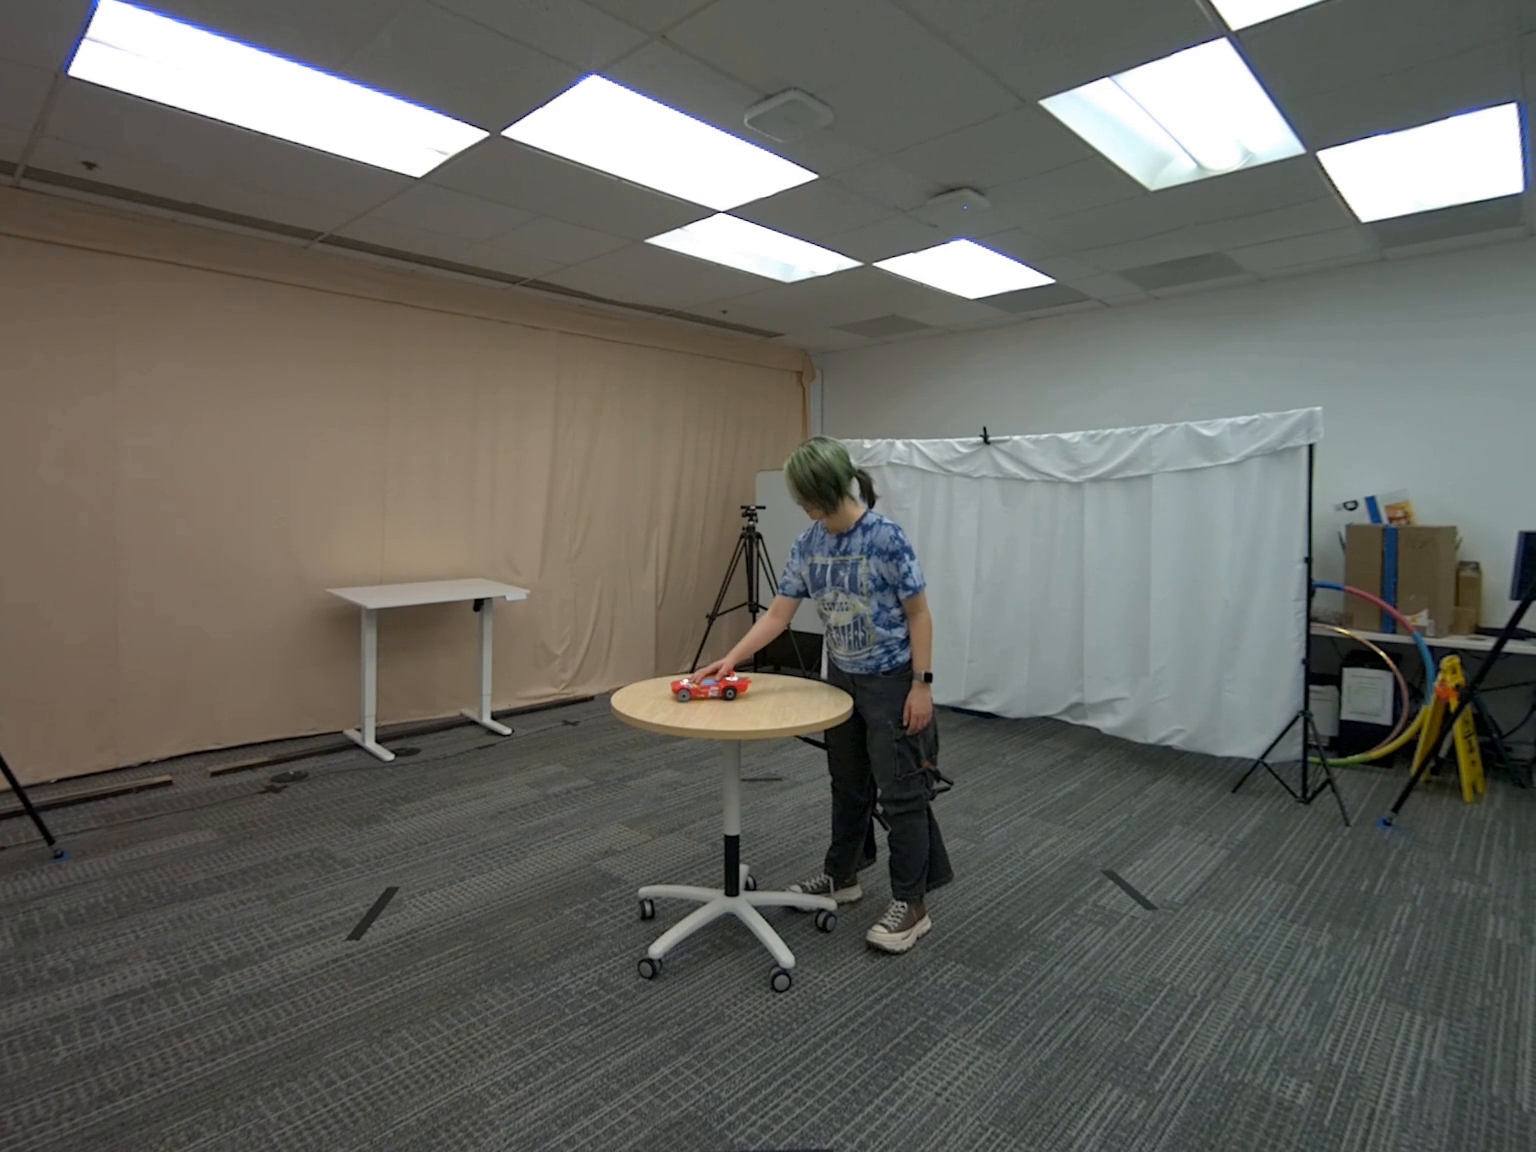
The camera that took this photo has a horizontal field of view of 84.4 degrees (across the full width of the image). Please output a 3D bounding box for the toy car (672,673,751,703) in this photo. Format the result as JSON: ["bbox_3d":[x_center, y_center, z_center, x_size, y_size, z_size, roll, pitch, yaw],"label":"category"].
[{"bbox_3d":[-0.172,0.358,2.675,0.253,0.083,0.131,-12,5,-6],"label":"toy car"}]
